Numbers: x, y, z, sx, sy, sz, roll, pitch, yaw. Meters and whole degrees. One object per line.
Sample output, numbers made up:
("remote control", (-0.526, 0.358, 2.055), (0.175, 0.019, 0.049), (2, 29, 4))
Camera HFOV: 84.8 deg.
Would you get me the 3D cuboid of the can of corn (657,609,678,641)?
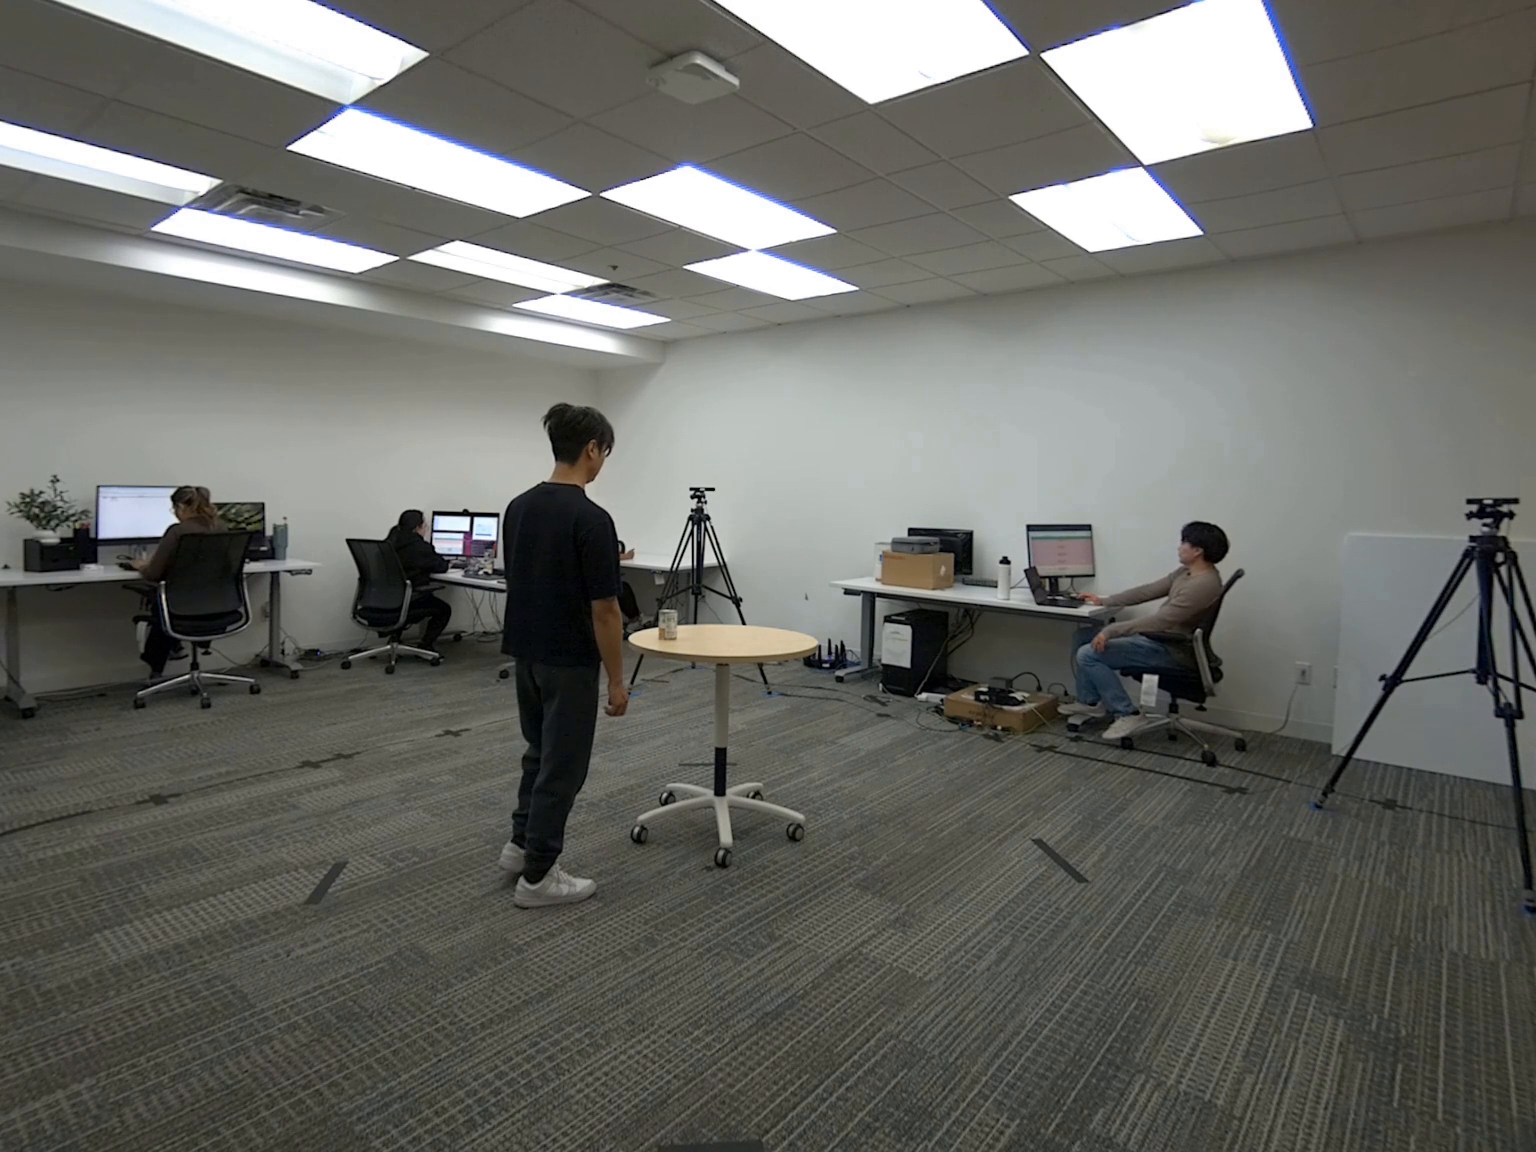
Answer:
("can of corn", (-0.416, 0.193, 3.420), (0.074, 0.111, 0.074), (0, 3, -2))
